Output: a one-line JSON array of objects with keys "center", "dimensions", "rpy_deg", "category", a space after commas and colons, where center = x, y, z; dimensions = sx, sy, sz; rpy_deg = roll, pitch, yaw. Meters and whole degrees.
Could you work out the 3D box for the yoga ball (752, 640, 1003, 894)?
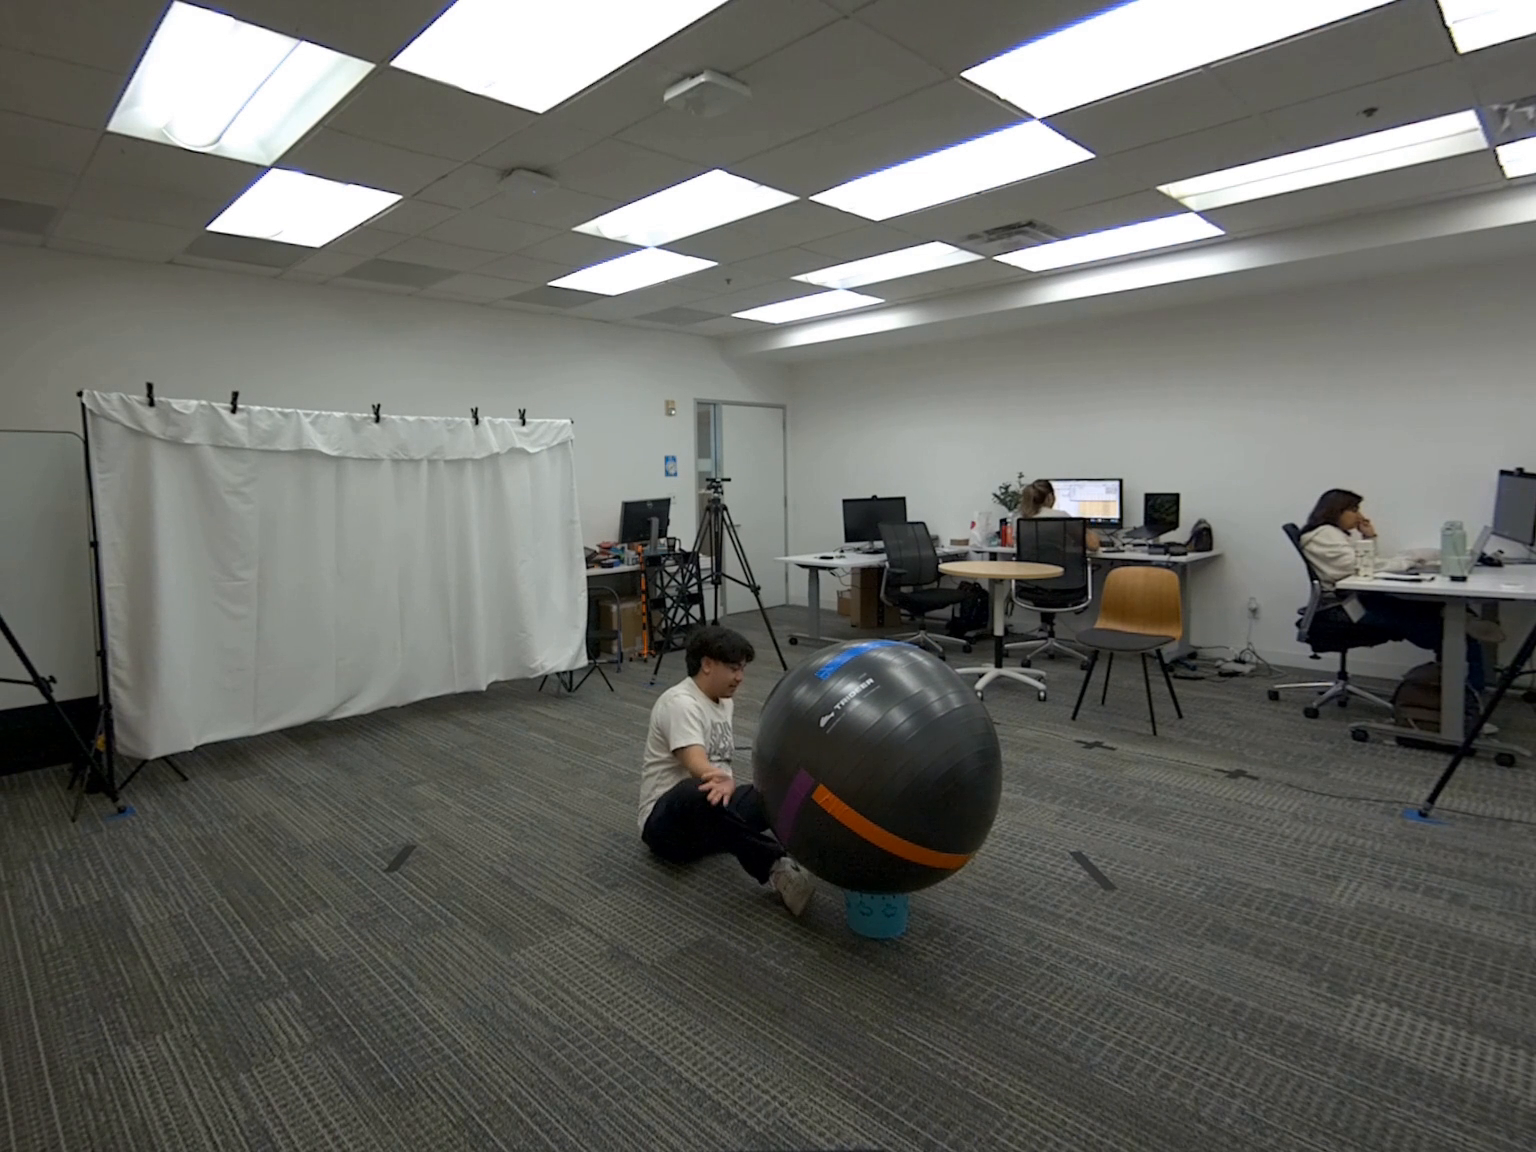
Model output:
[{"center": [0.330, 0.578, 2.639], "dimensions": [0.757, 0.755, 0.762], "rpy_deg": [-1, 5, -2], "category": "yoga ball"}]
